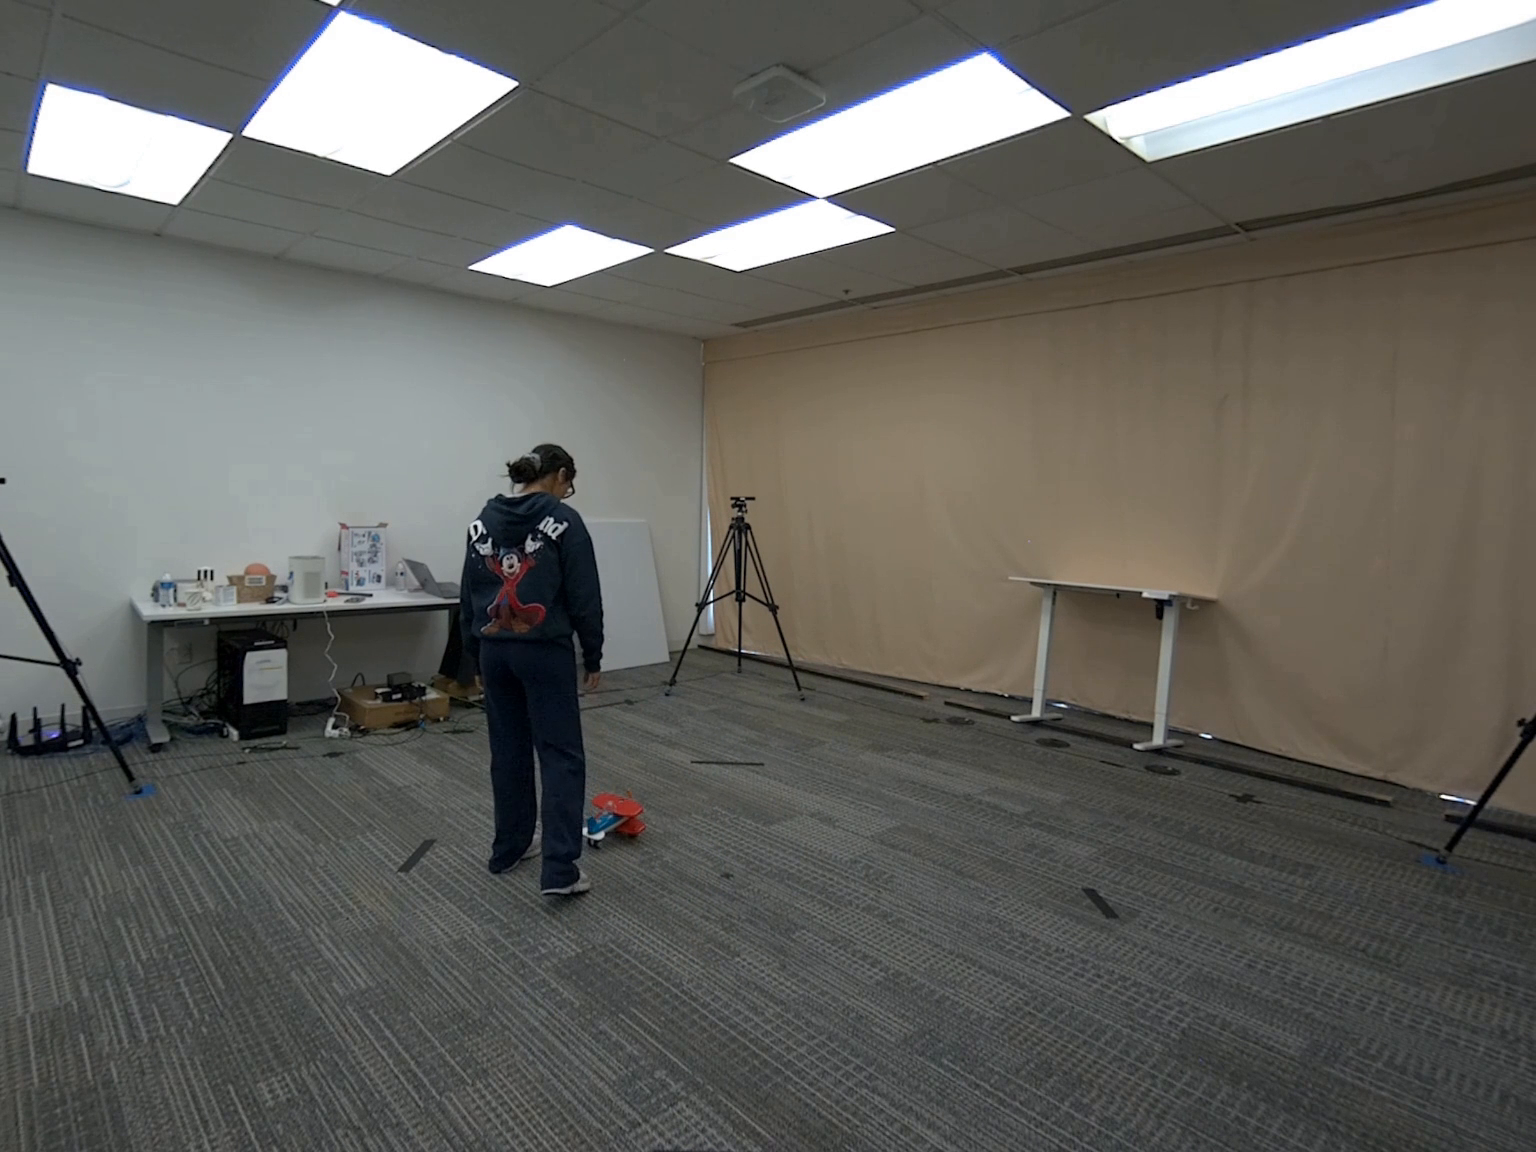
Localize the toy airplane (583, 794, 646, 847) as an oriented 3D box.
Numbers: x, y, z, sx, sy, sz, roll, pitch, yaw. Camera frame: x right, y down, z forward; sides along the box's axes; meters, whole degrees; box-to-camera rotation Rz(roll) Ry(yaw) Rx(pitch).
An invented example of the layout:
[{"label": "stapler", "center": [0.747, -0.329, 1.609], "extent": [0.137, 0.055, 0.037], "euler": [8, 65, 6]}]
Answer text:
[{"label": "toy airplane", "center": [-0.623, 0.996, 3.388], "extent": [0.252, 0.156, 0.258], "euler": [0, 3, 6]}]
